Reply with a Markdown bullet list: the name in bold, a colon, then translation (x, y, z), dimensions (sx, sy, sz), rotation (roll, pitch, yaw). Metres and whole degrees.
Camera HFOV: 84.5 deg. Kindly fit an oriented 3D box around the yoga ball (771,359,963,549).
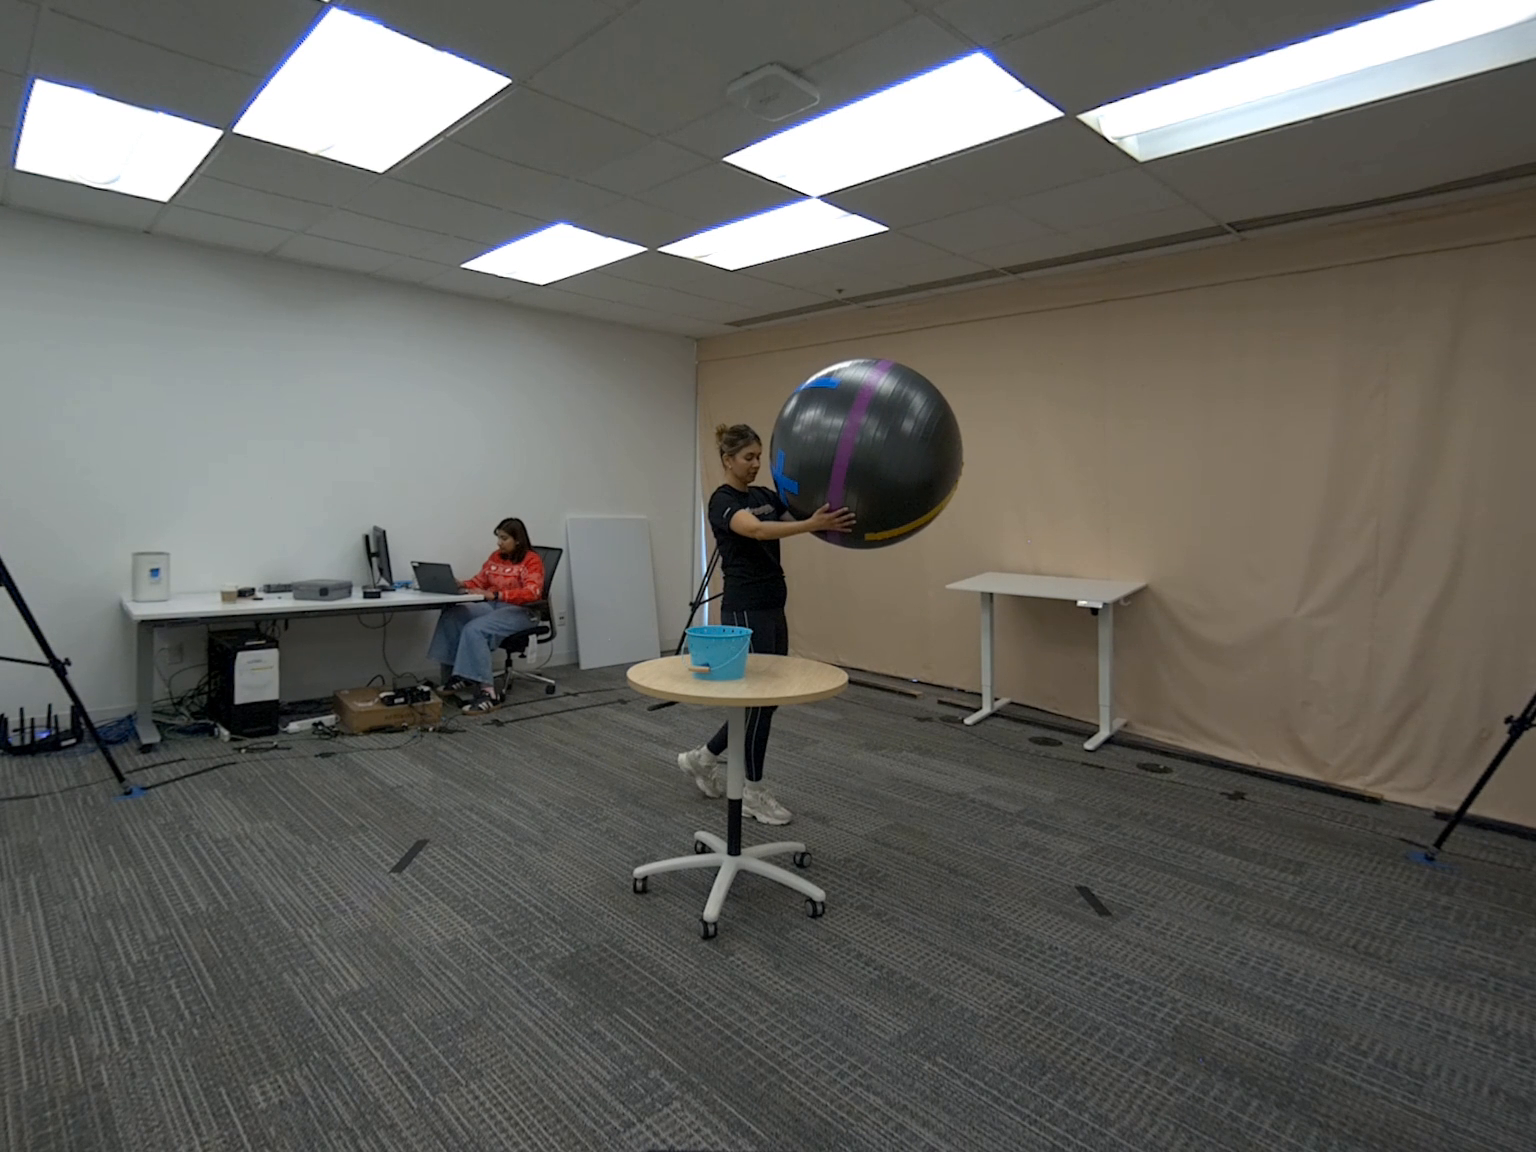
- **yoga ball**: translation (0.387, -0.478, 3.362), dimensions (0.757, 0.756, 0.761), rotation (1, 4, -1)
